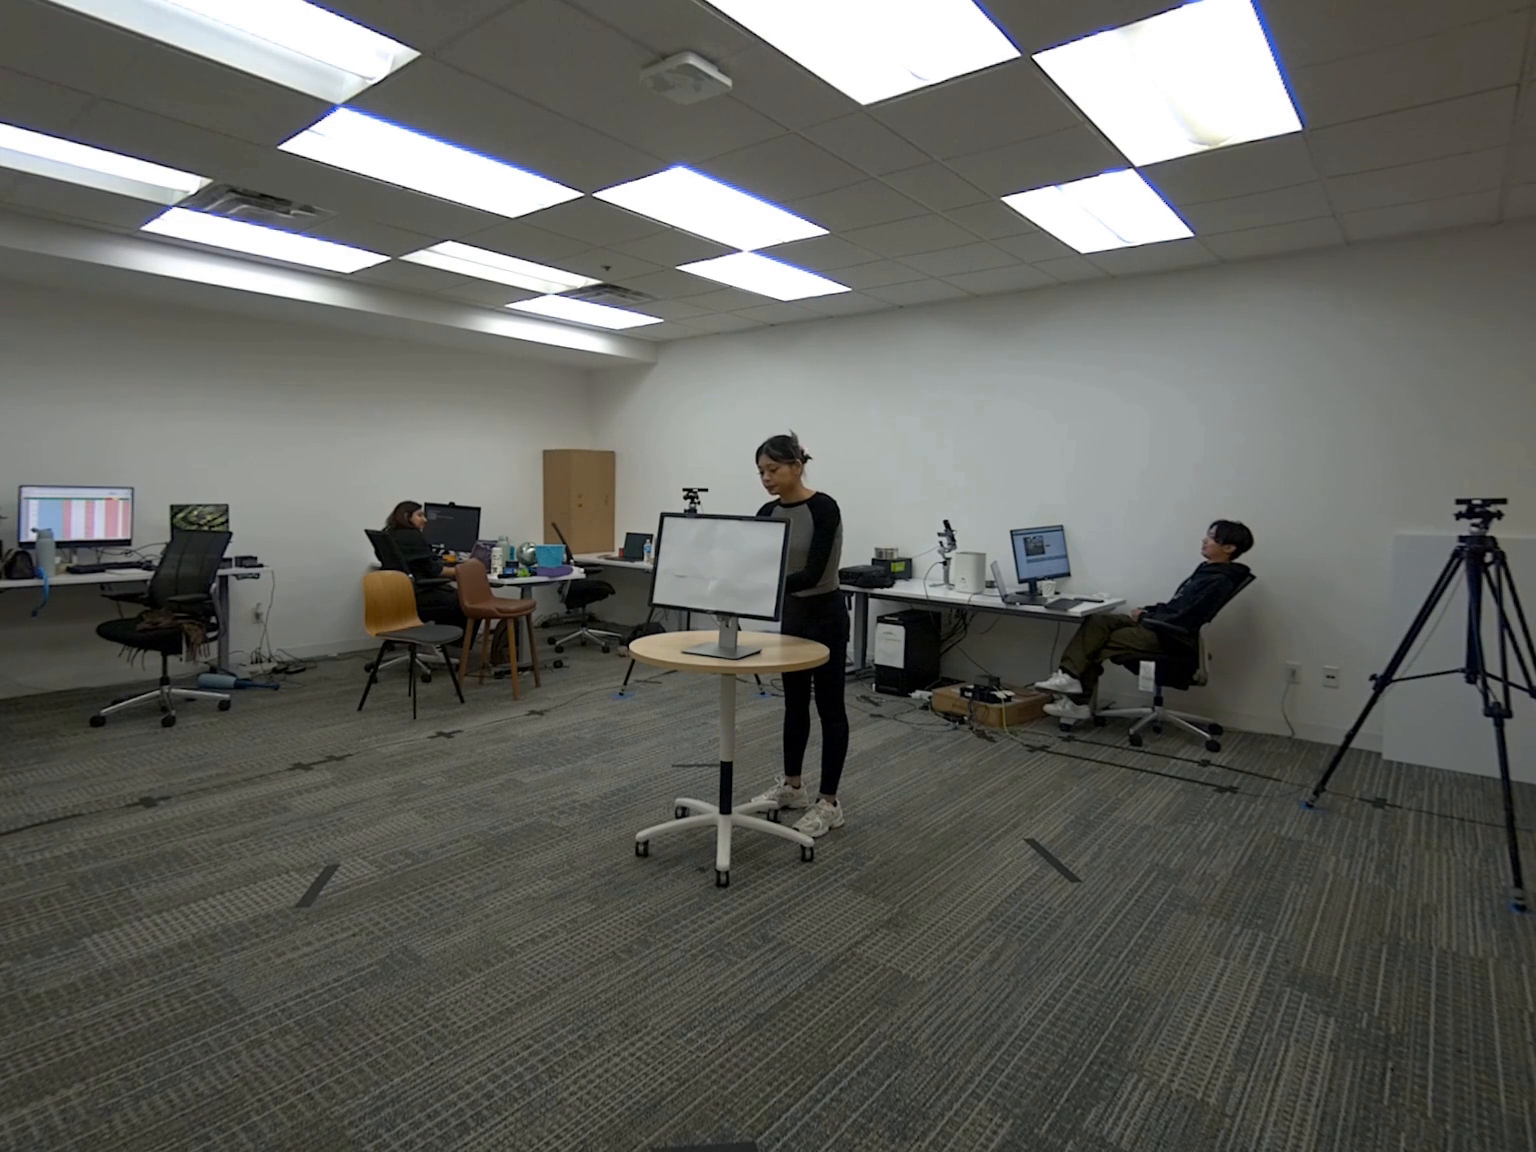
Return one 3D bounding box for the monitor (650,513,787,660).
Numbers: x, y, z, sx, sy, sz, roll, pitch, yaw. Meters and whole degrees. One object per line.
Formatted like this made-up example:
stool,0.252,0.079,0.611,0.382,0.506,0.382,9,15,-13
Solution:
monitor,-0.177,0.033,3.118,0.546,0.511,0.171,6,12,31
